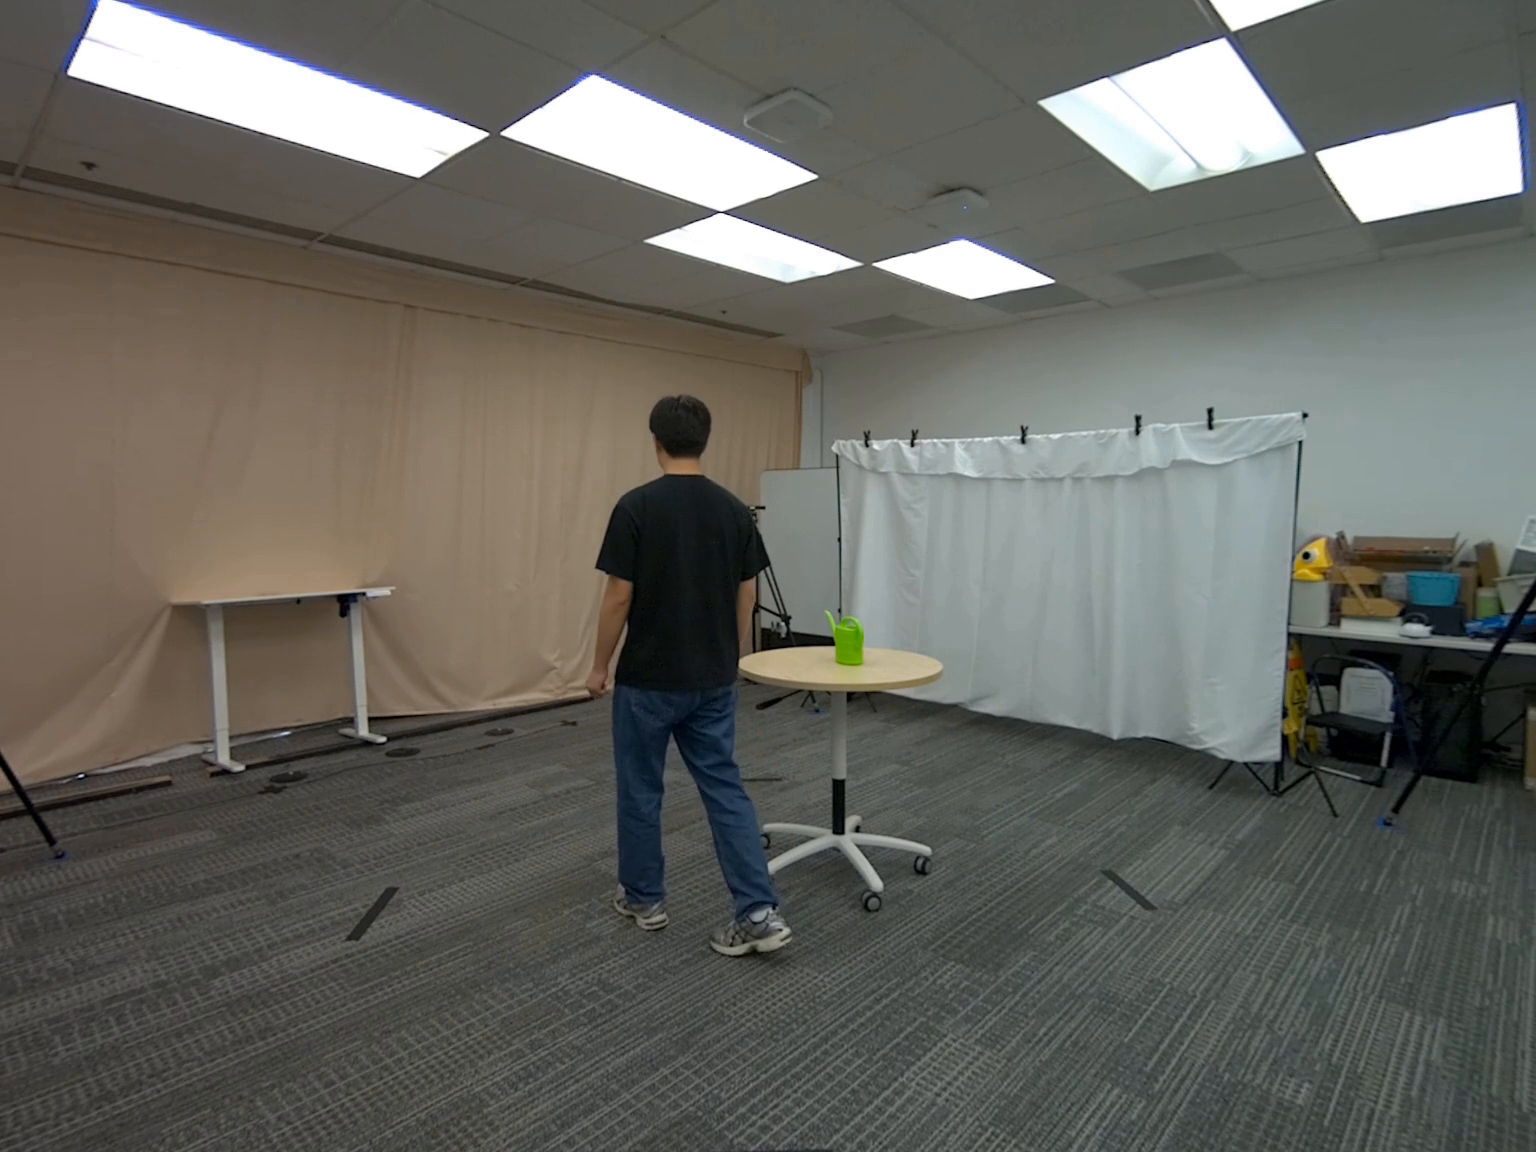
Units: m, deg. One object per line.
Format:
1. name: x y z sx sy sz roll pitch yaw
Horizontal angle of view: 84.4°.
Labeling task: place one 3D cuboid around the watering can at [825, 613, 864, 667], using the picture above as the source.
1. watering can: 0.307 0.238 3.233 0.097 0.176 0.281 -1 5 -8
